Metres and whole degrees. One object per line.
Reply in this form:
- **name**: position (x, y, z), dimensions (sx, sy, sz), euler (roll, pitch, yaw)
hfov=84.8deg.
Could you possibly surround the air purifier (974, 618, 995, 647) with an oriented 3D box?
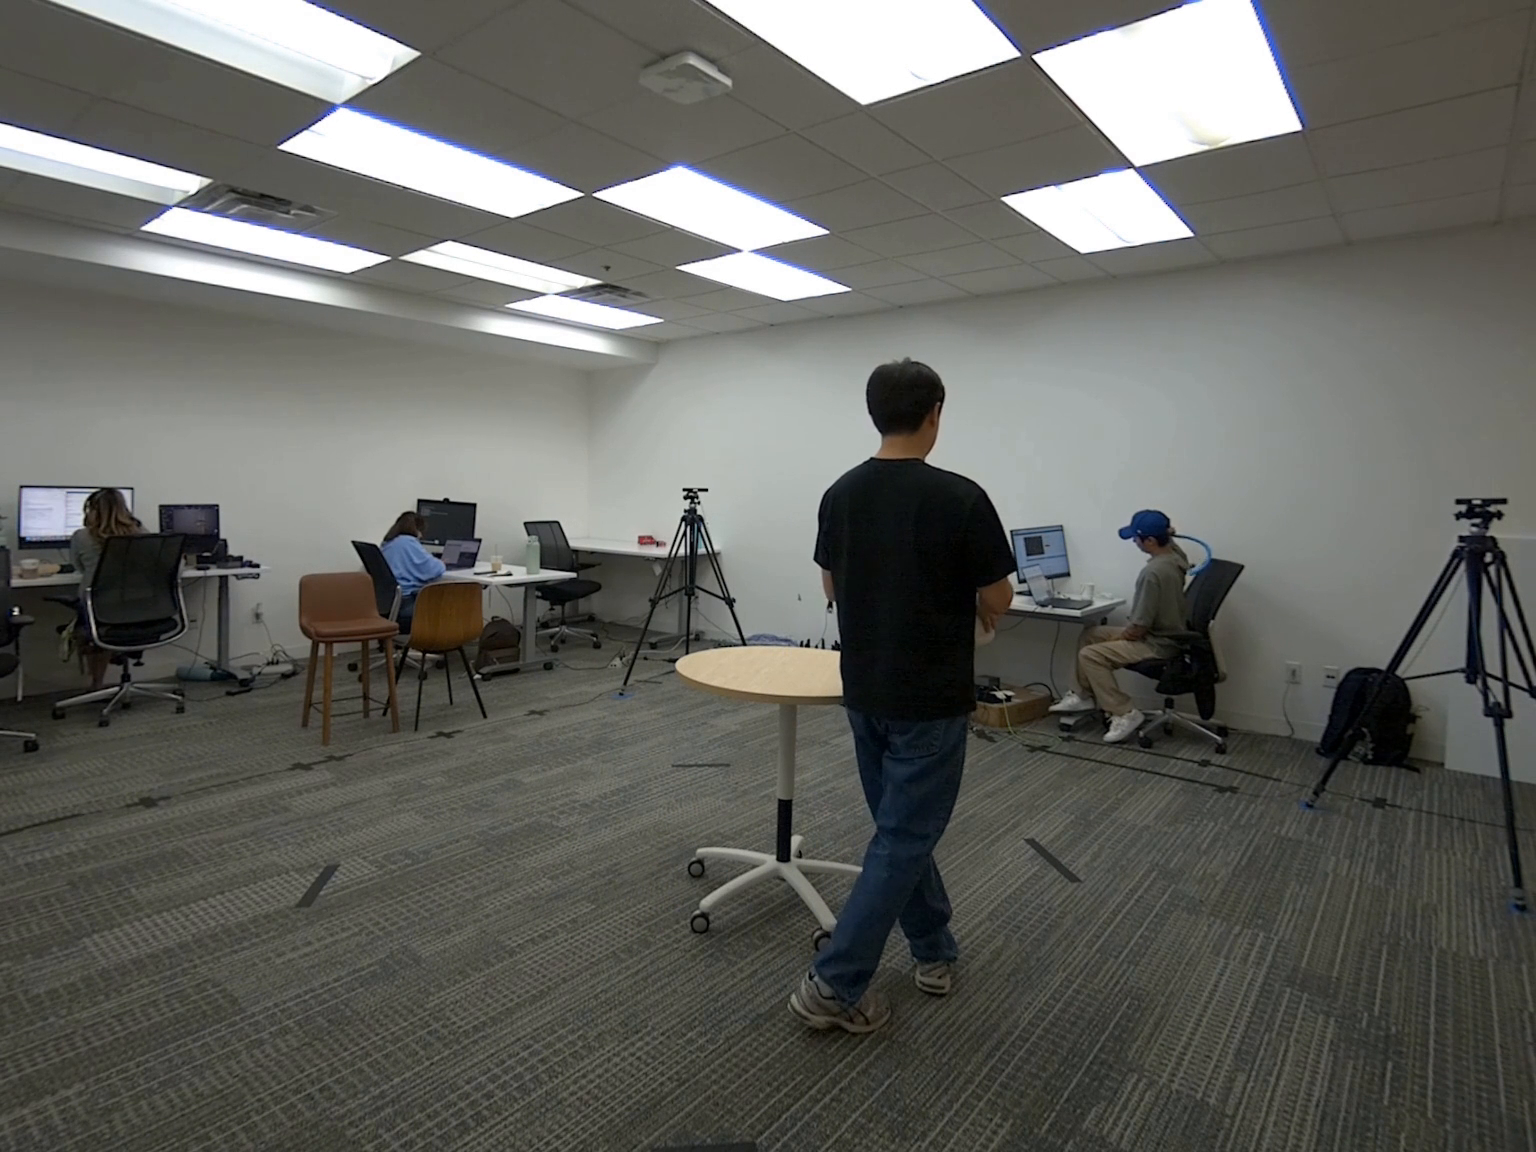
- **air purifier**: position (0.570, 0.068, 2.551), dimensions (0.176, 0.265, 0.167), euler (-1, 2, 40)
